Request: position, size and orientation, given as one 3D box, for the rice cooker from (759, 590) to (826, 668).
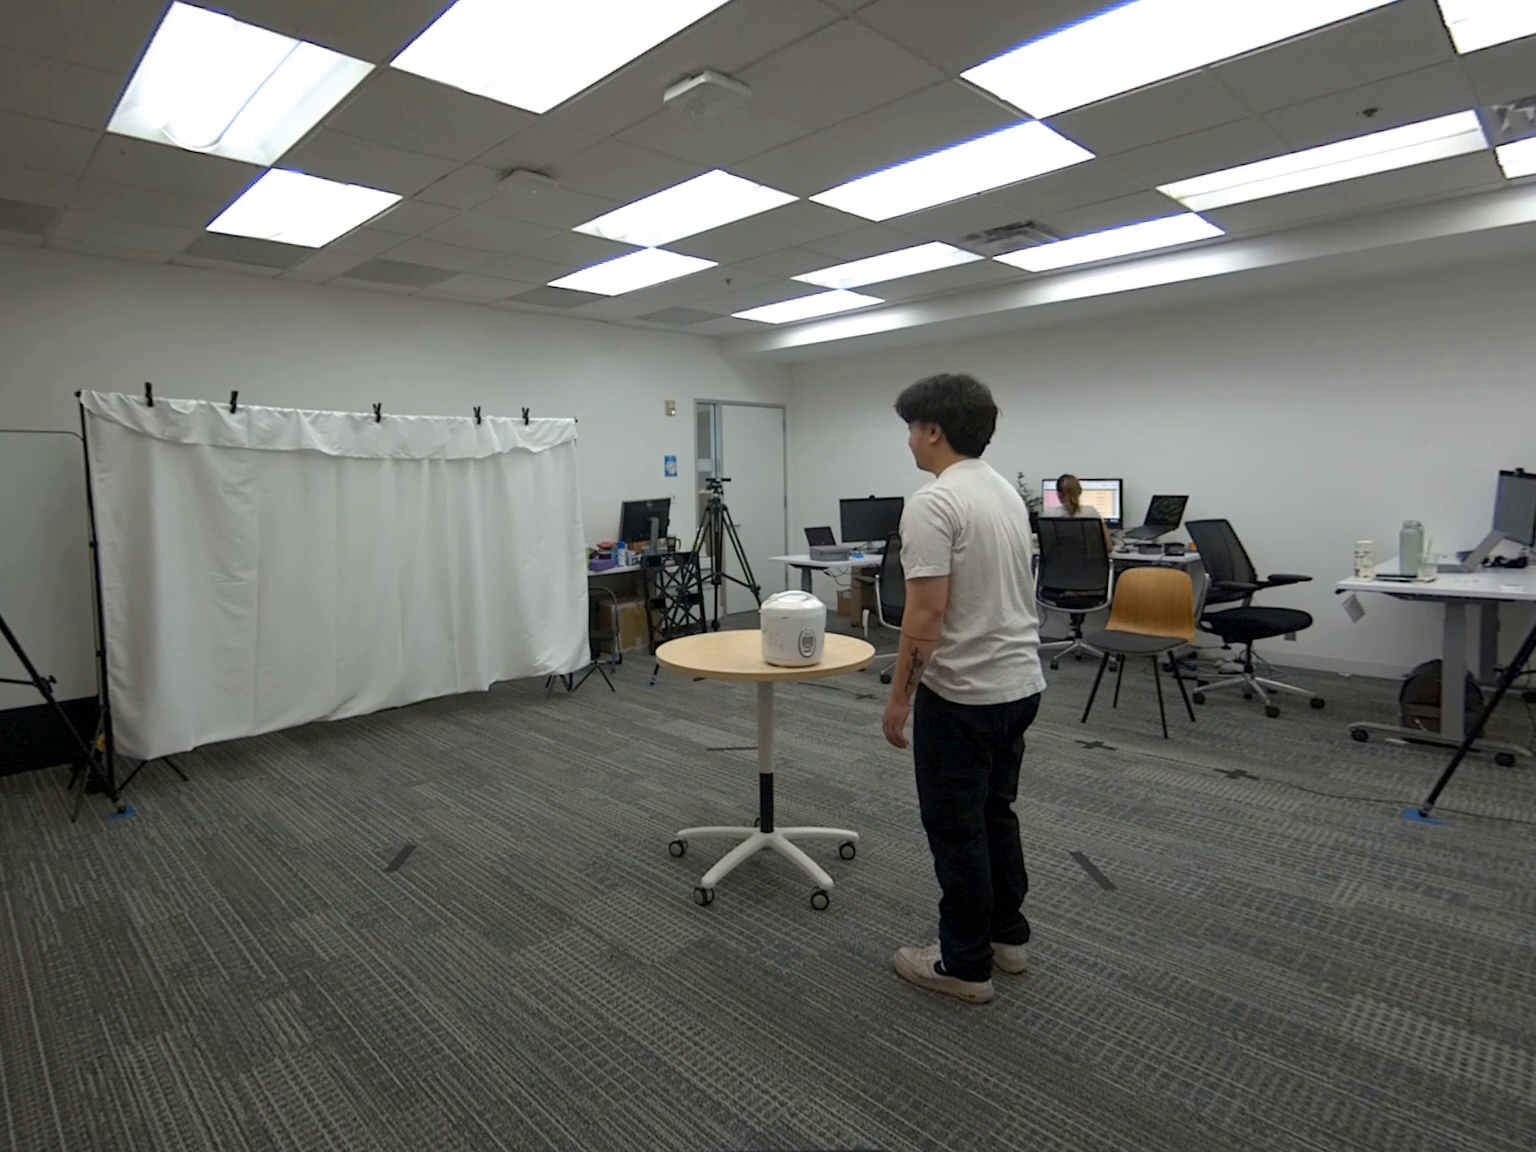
[{"bbox_3d":[0.085,0.165,2.766,0.216,0.232,0.222,-4,5,-22],"label":"rice cooker"}]
